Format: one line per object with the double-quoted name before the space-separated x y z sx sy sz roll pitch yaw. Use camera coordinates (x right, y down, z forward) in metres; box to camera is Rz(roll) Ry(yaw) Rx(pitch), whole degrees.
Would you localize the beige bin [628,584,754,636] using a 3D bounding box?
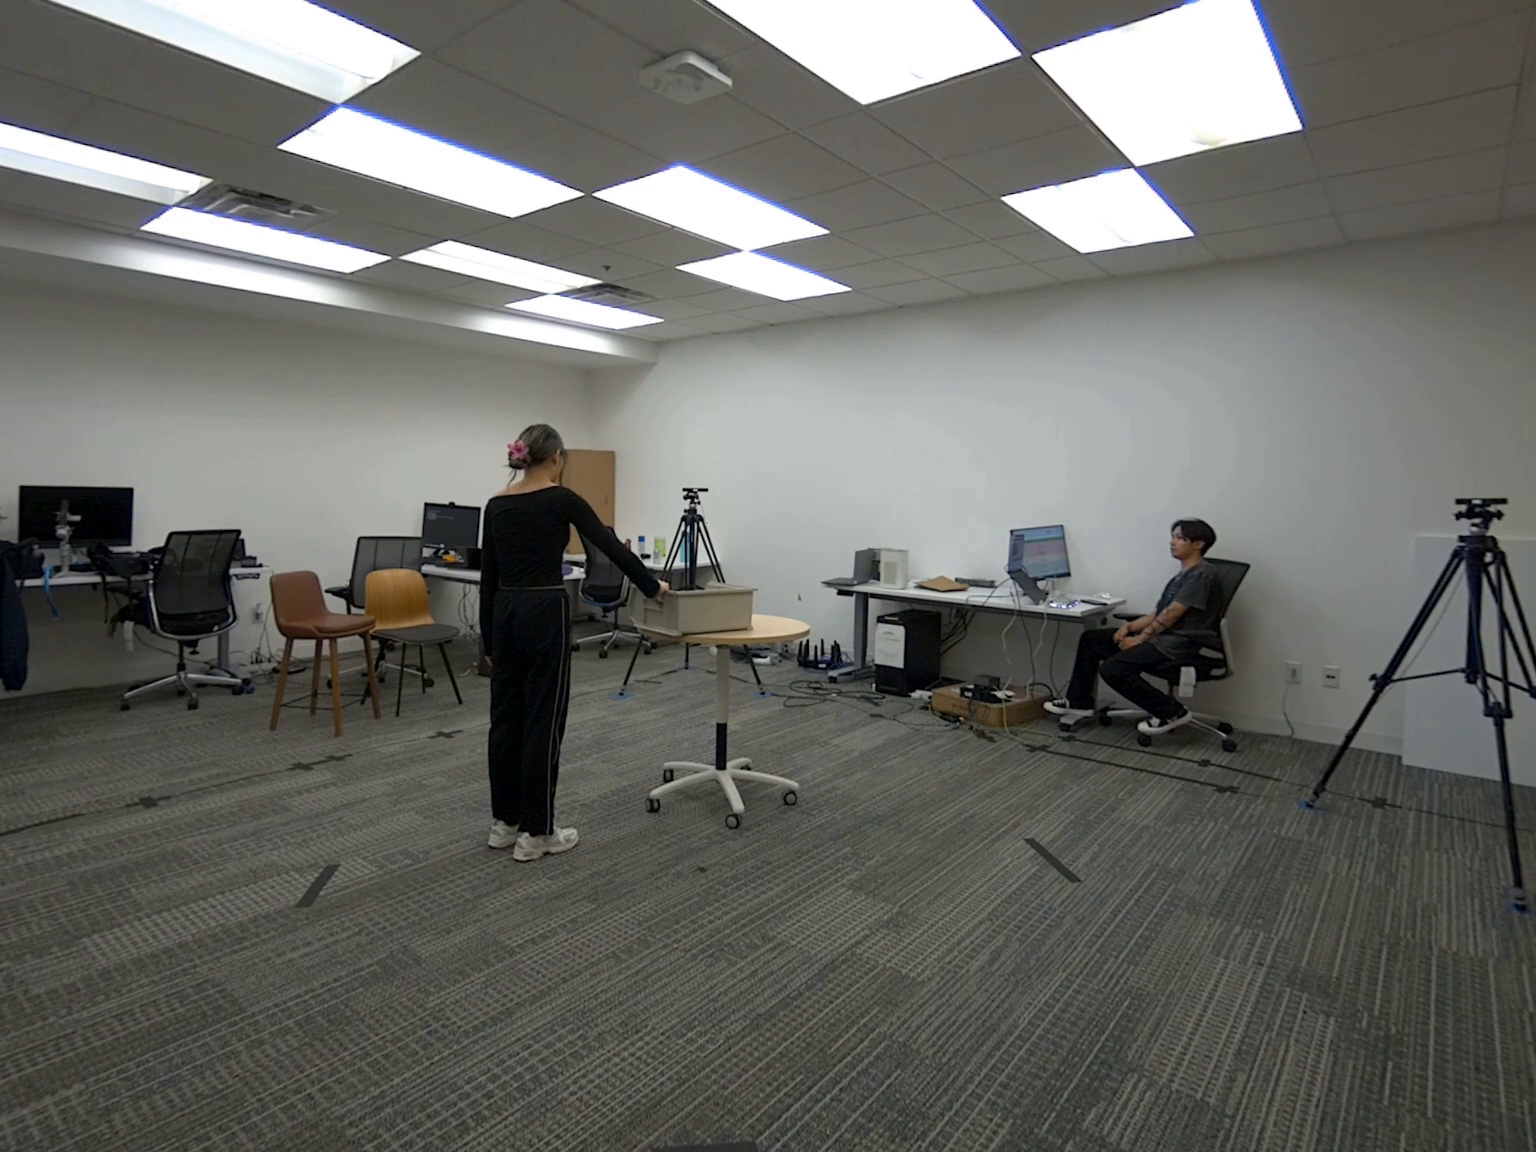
"beige bin" -0.339 0.129 3.654 0.409 0.188 0.390 -1 6 -39
